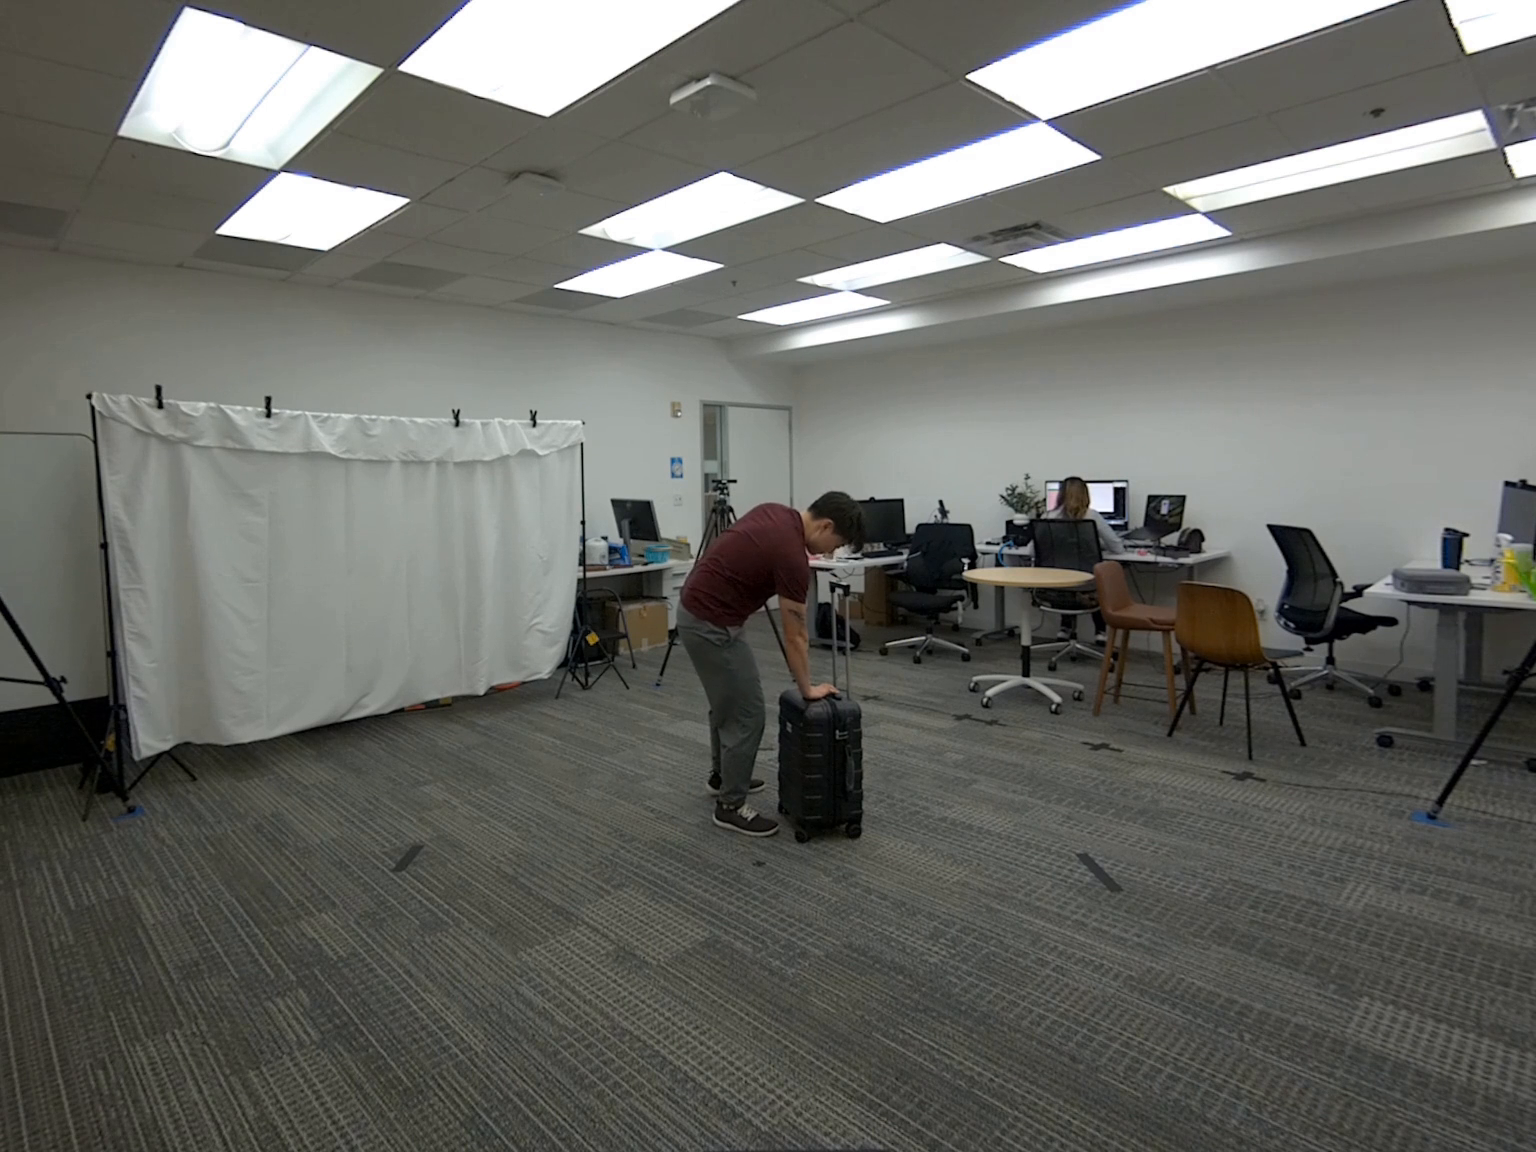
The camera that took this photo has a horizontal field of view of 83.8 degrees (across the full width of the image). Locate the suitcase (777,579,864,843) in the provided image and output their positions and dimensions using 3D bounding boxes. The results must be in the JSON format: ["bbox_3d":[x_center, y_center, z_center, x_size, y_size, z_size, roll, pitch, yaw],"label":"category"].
[{"bbox_3d":[0.213,0.534,3.415,0.254,0.975,0.390,0,4,-13],"label":"suitcase"}]
